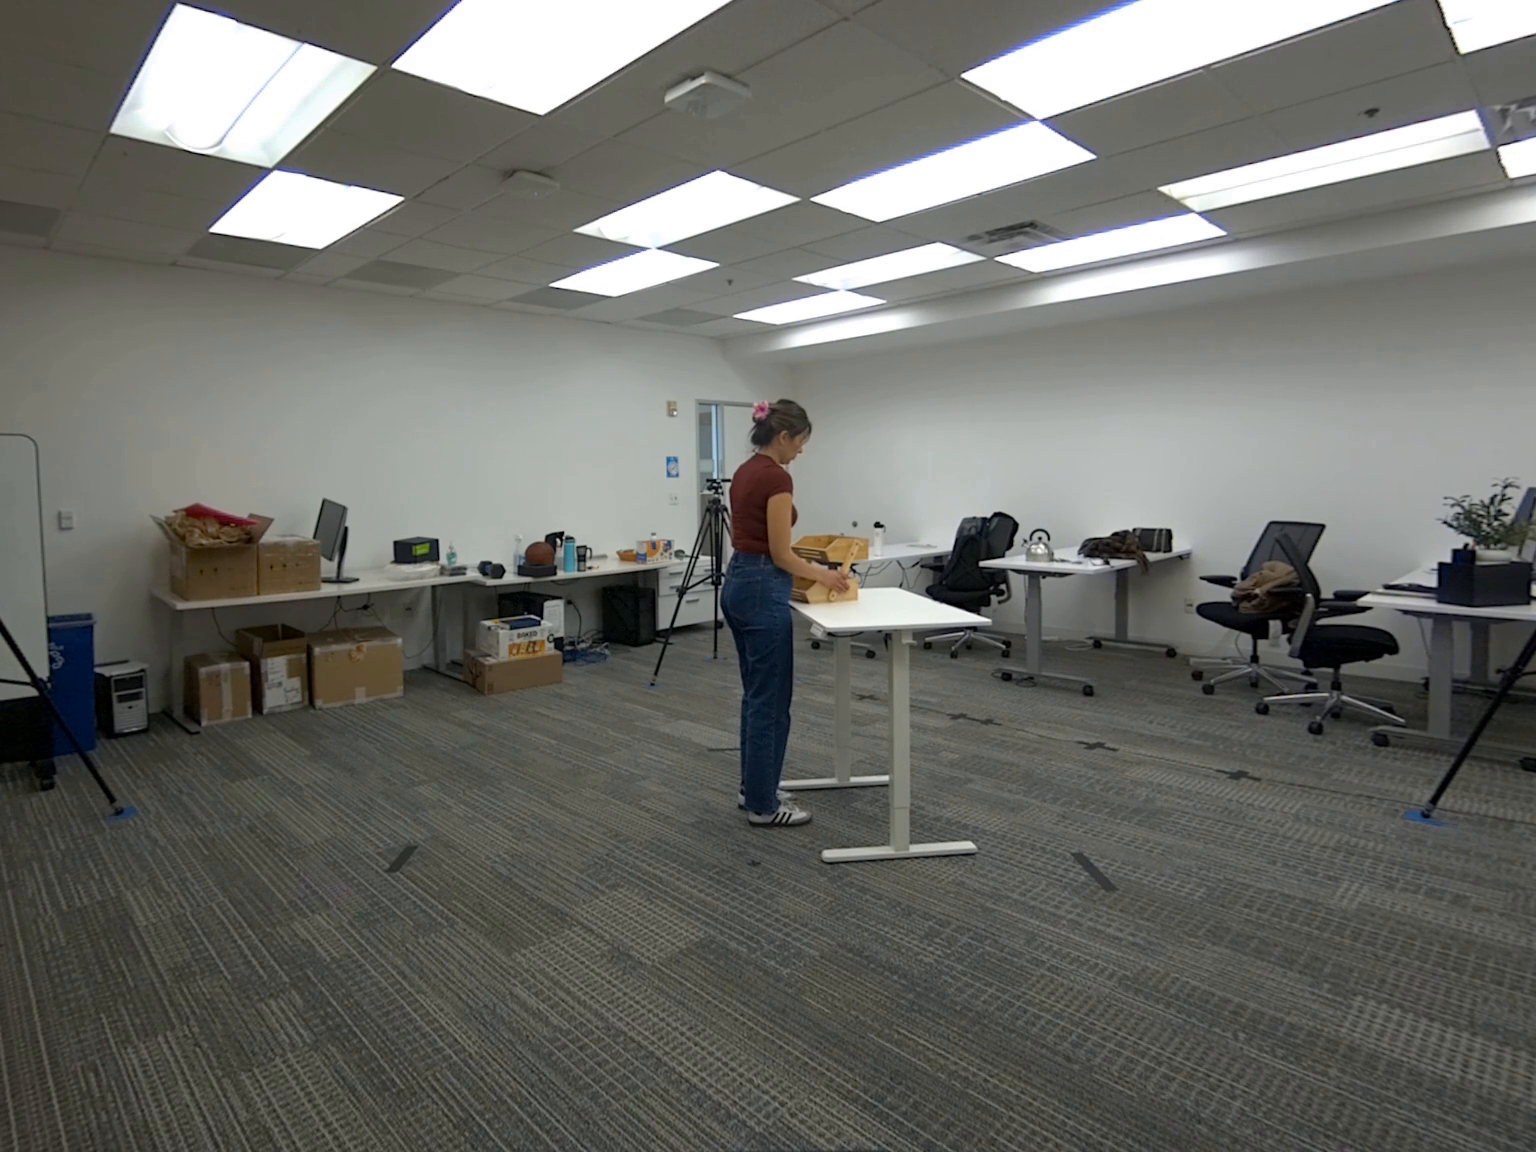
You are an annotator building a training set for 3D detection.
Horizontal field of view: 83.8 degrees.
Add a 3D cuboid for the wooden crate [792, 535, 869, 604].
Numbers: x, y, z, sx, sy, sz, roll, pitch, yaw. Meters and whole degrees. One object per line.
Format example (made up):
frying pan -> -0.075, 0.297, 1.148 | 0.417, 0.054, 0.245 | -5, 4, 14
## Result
wooden crate -> 0.221, -0.039, 3.680 | 0.296, 0.272, 0.332 | -2, 5, -25
